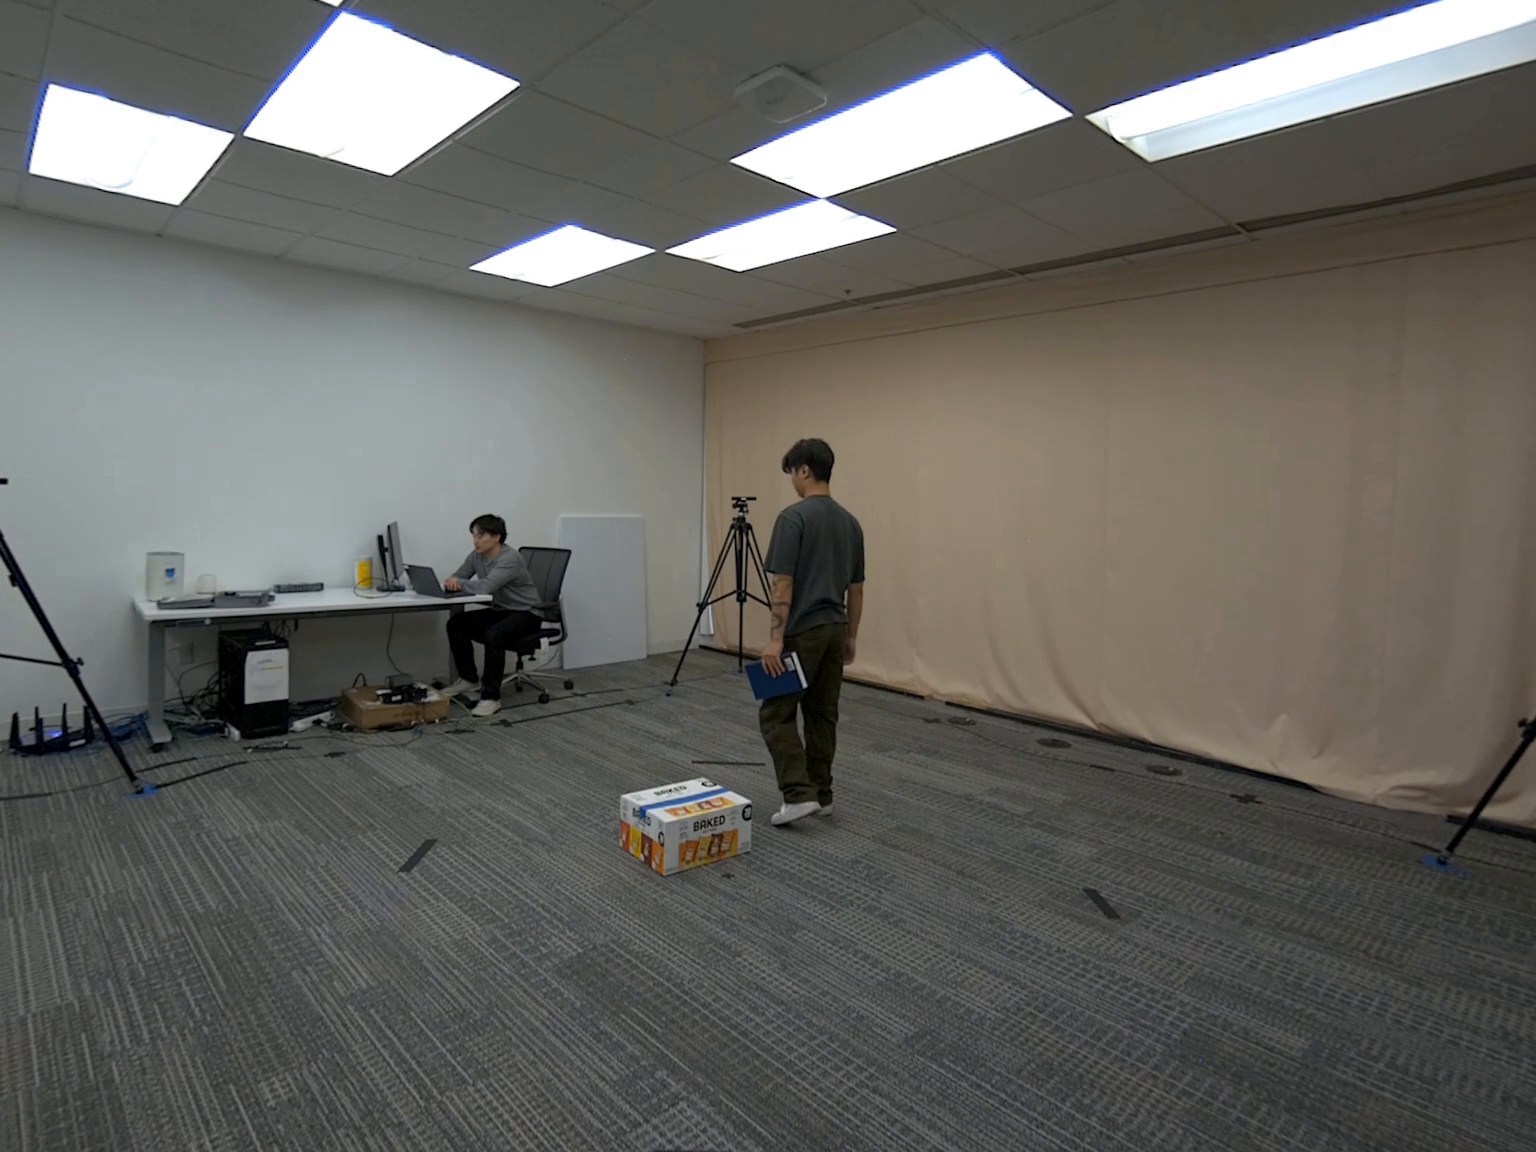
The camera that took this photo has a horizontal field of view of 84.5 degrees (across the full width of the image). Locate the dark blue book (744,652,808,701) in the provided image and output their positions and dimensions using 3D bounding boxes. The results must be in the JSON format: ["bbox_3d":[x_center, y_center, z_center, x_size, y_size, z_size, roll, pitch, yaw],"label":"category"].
[{"bbox_3d":[0.021,0.424,3.552,0.248,0.164,0.044,-18,-1,32],"label":"dark blue book"}]
